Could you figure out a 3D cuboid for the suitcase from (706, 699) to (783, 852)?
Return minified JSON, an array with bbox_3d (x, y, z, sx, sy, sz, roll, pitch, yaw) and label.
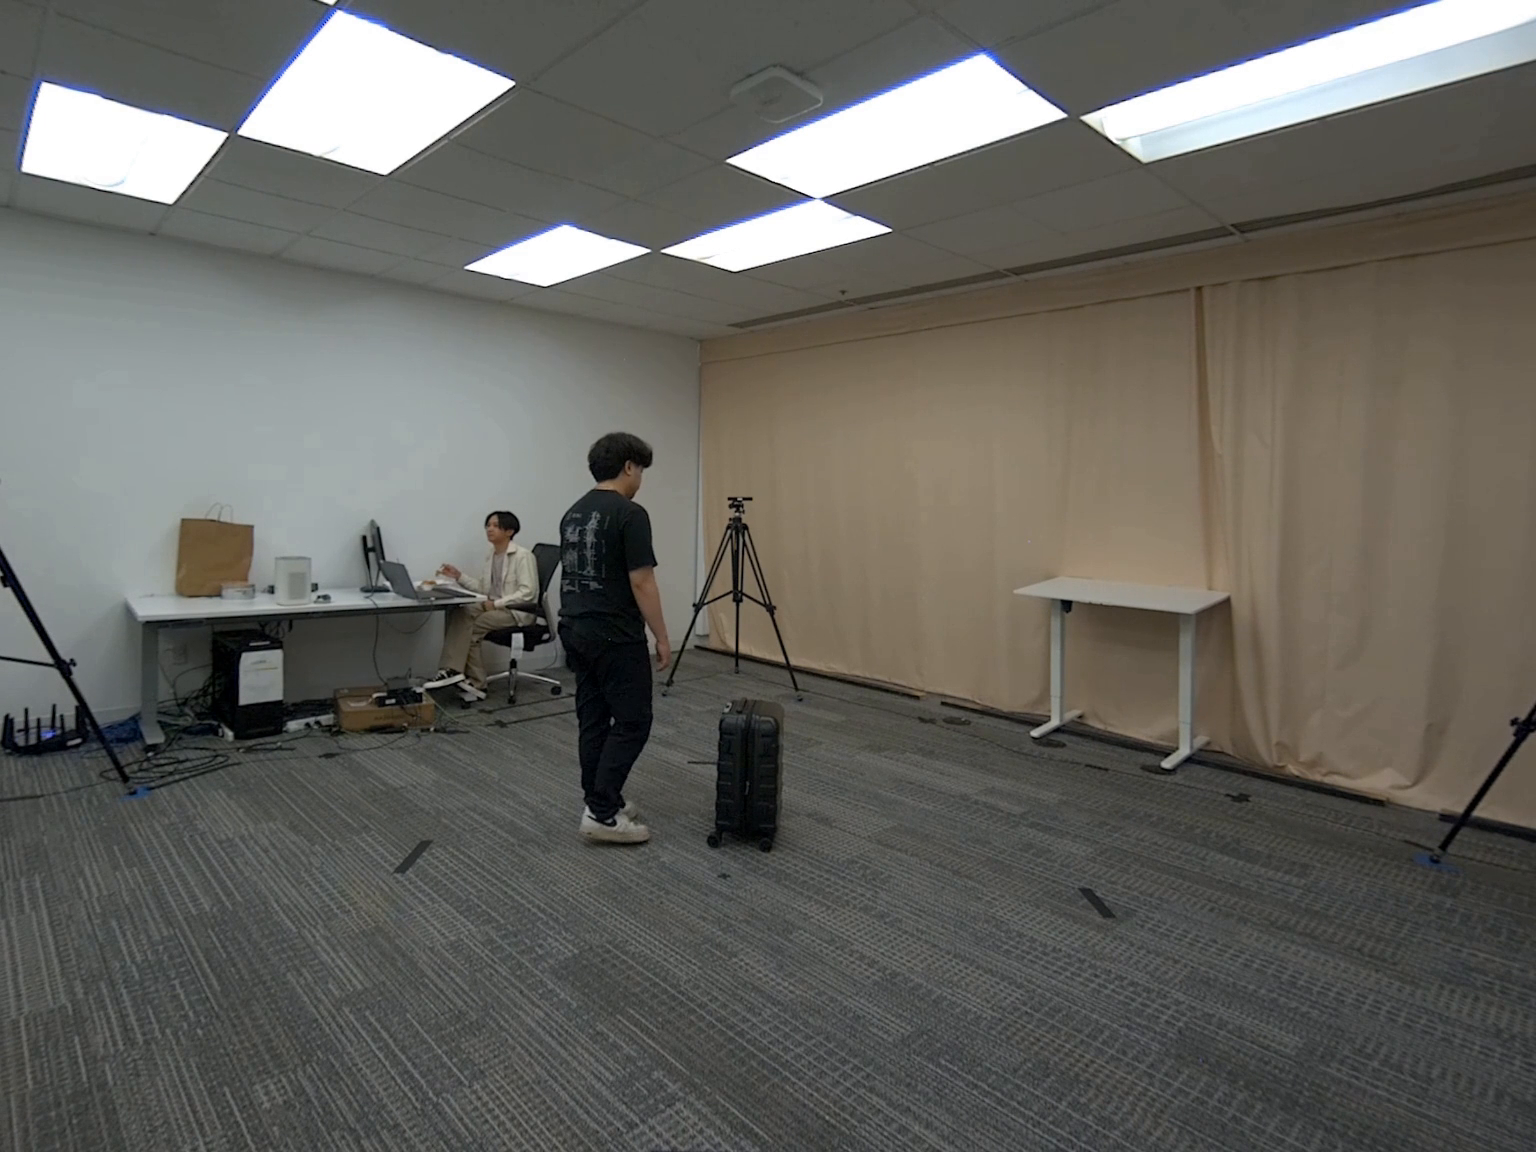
[{"bbox_3d":[-0.091,0.795,3.494,0.249,0.548,0.375,4,3,4],"label":"suitcase"}]
